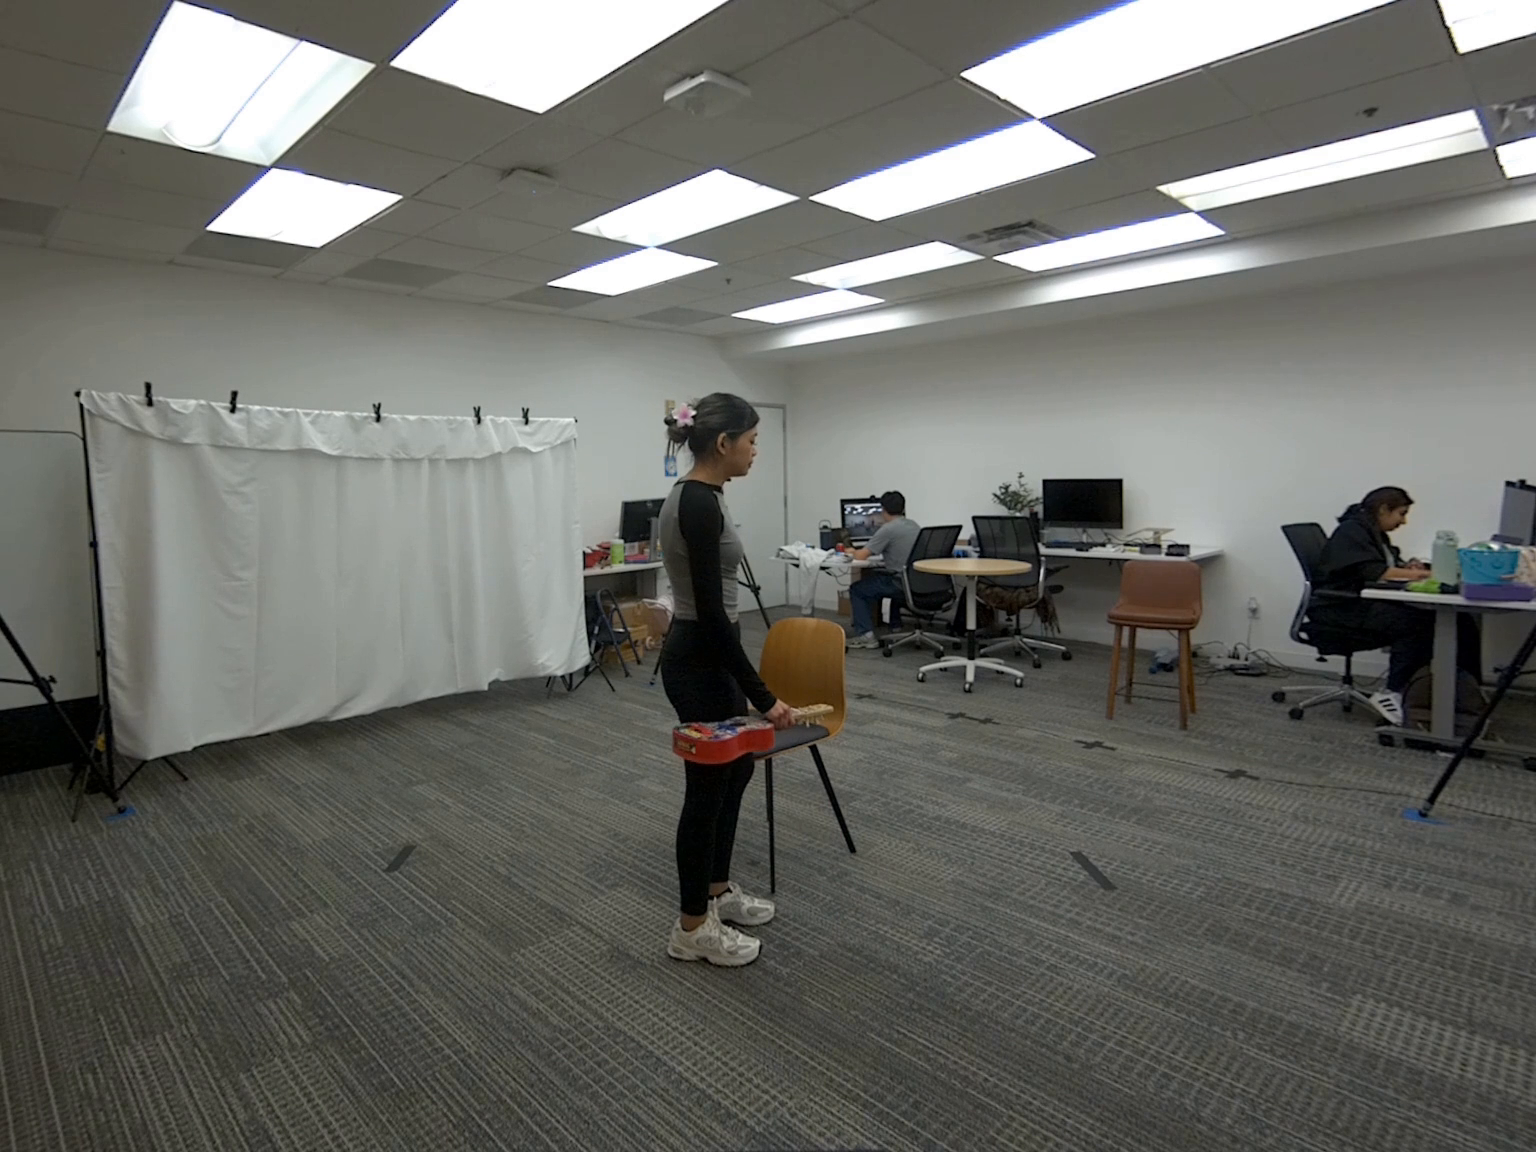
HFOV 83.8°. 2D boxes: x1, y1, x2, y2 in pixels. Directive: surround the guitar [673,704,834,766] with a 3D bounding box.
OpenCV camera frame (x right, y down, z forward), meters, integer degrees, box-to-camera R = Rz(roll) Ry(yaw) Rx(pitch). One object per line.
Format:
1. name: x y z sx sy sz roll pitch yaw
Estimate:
1. guitar: 0.004 0.420 2.268 0.486 0.070 0.198 -4 4 -30
